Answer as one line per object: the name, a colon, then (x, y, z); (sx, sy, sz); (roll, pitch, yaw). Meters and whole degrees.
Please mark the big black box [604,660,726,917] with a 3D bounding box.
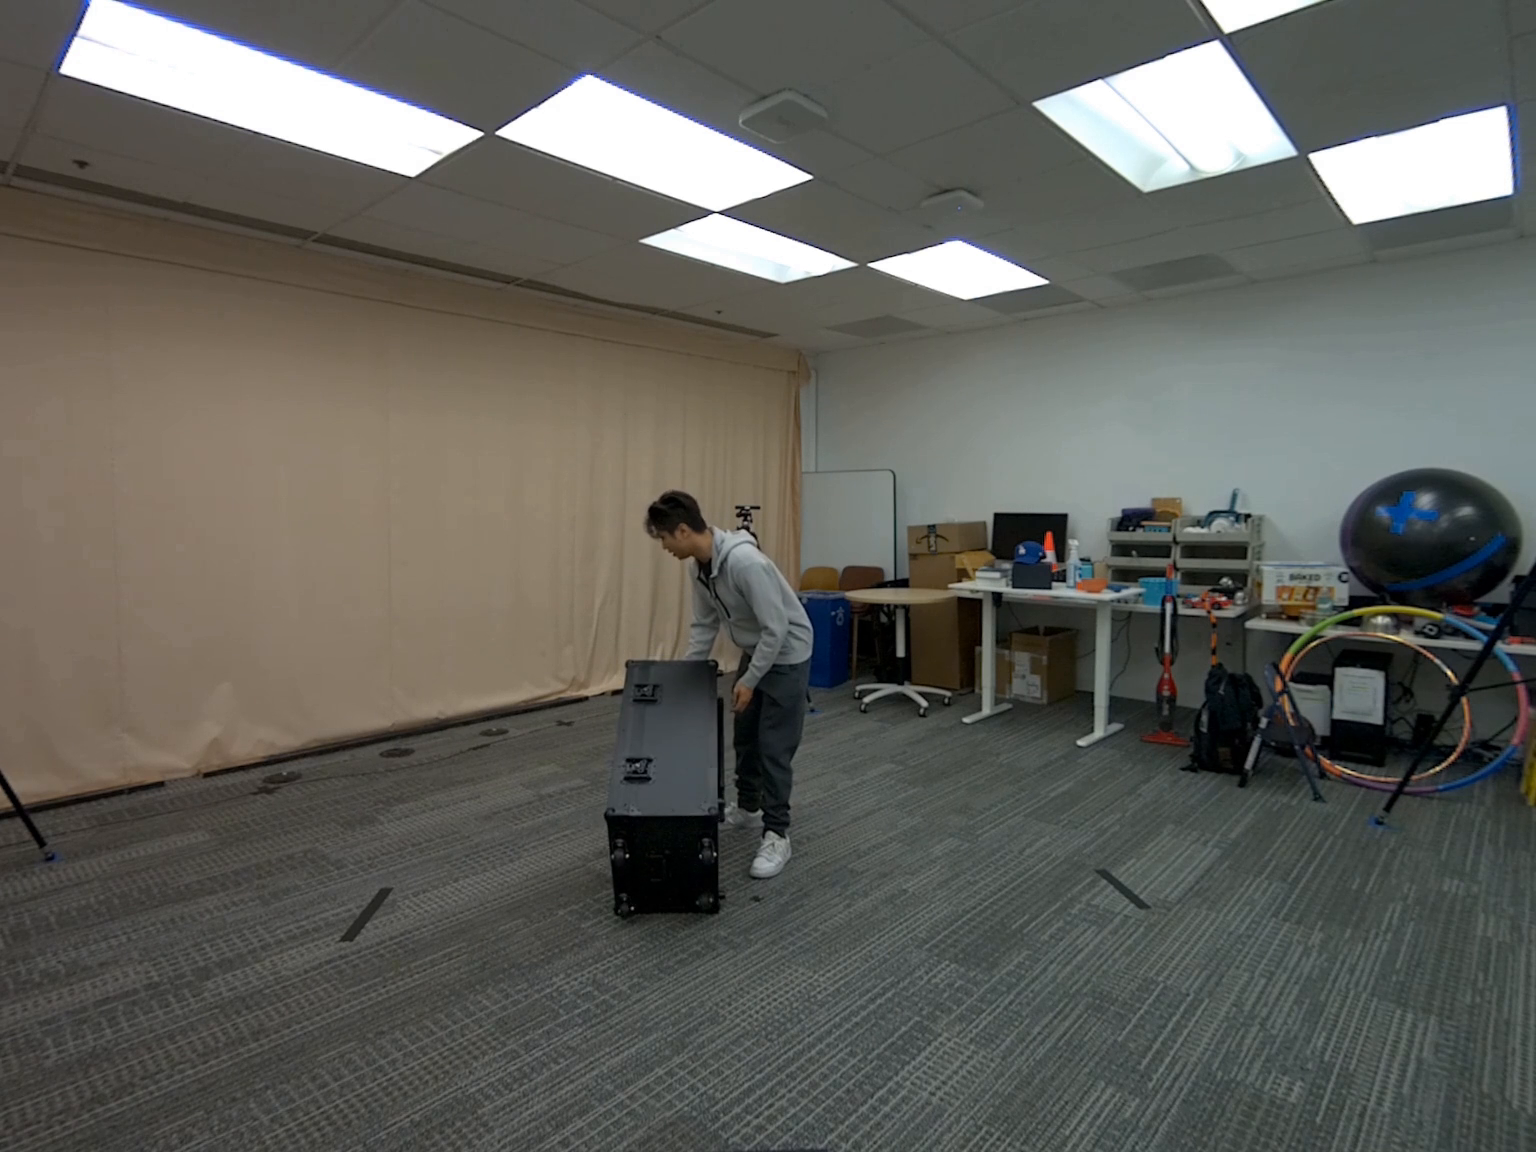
big black box: (-0.342, 0.761, 3.064); (0.396, 0.513, 0.876); (0, 32, -1)
